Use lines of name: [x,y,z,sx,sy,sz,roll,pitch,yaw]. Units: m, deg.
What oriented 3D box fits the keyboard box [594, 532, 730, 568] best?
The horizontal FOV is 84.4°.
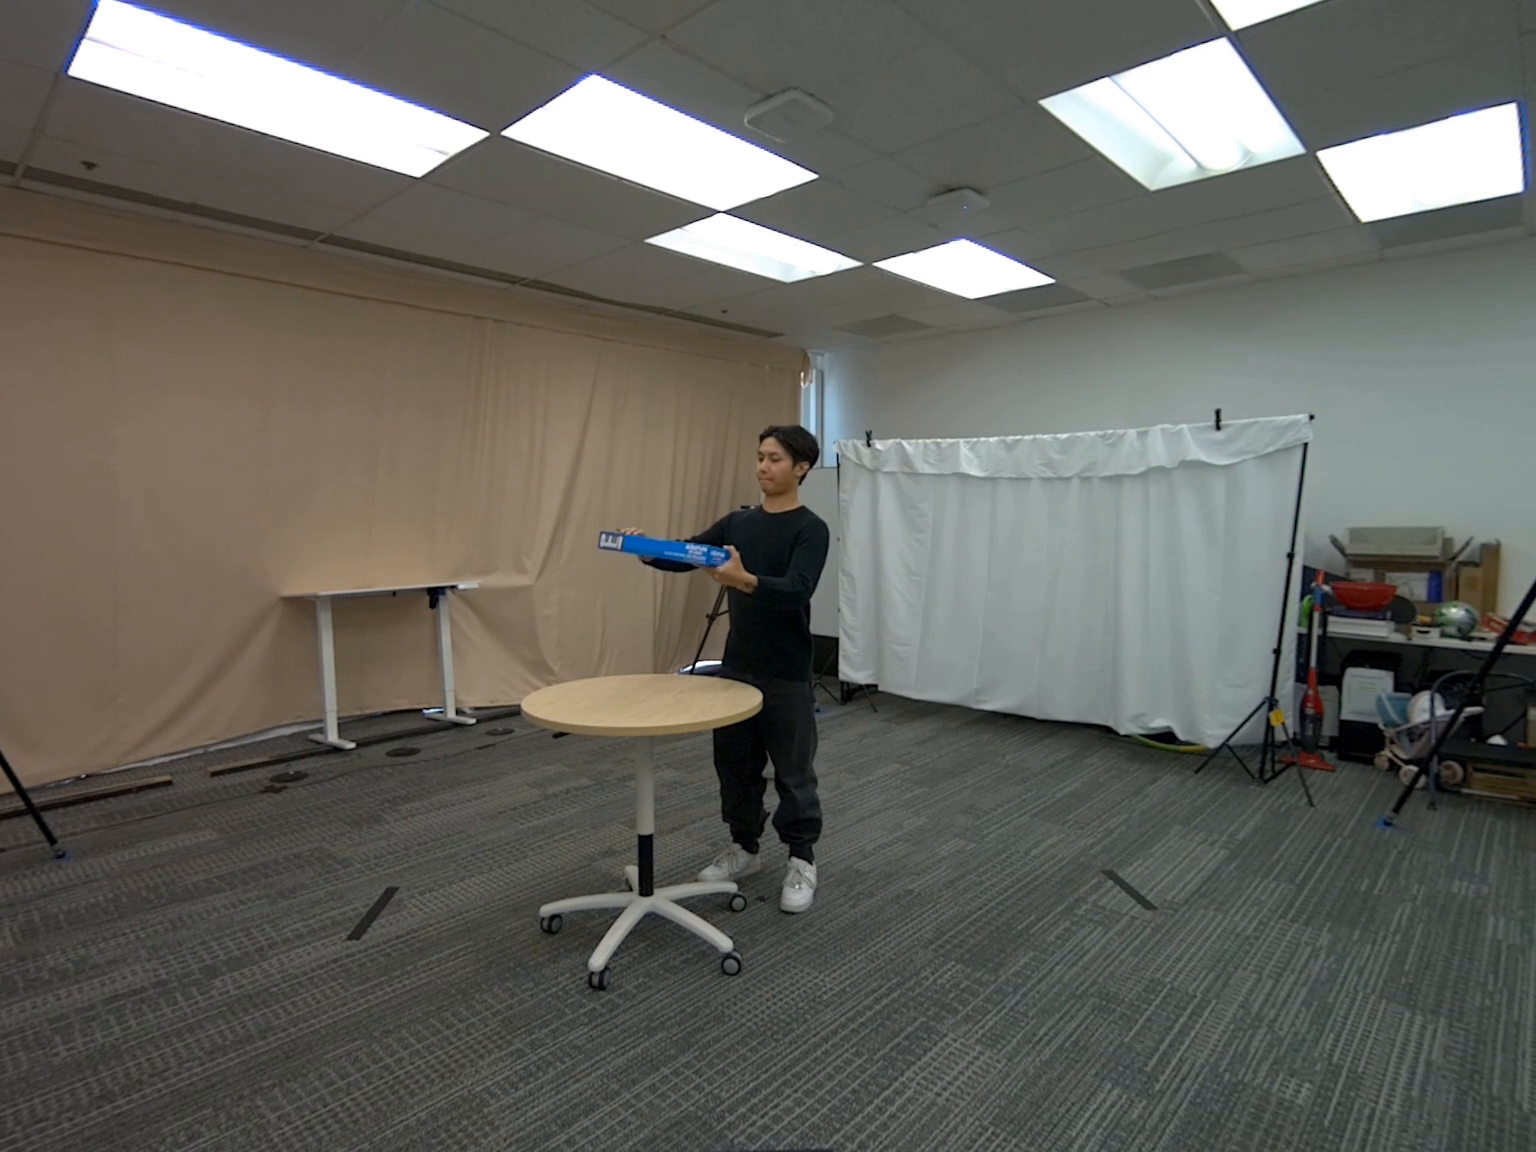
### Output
keyboard box: [-0.323,-0.078,2.665,0.451,0.059,0.170,8,0,34]
